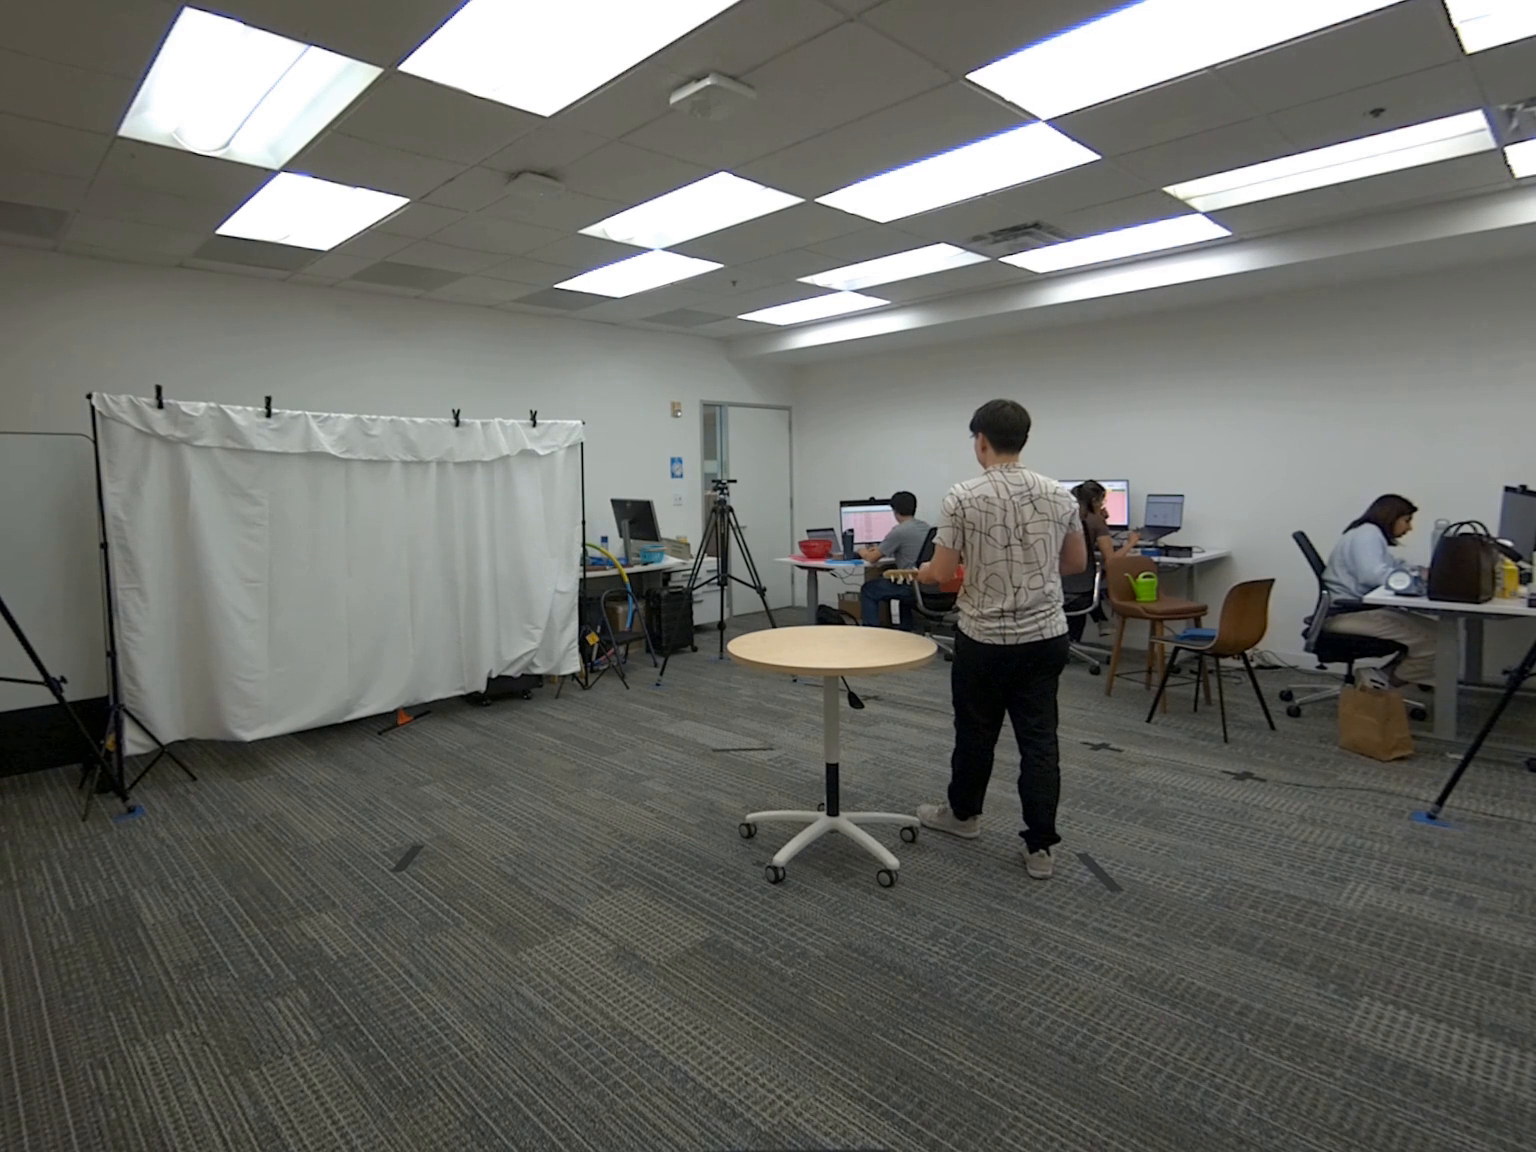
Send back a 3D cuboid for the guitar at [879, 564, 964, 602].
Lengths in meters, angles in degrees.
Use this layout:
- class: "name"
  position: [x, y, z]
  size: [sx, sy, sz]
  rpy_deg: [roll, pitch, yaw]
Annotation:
- class: "guitar"
  position: [0.710, 0.013, 3.411]
  size: [0.497, 0.072, 0.189]
  rpy_deg: [-5, -22, -2]
